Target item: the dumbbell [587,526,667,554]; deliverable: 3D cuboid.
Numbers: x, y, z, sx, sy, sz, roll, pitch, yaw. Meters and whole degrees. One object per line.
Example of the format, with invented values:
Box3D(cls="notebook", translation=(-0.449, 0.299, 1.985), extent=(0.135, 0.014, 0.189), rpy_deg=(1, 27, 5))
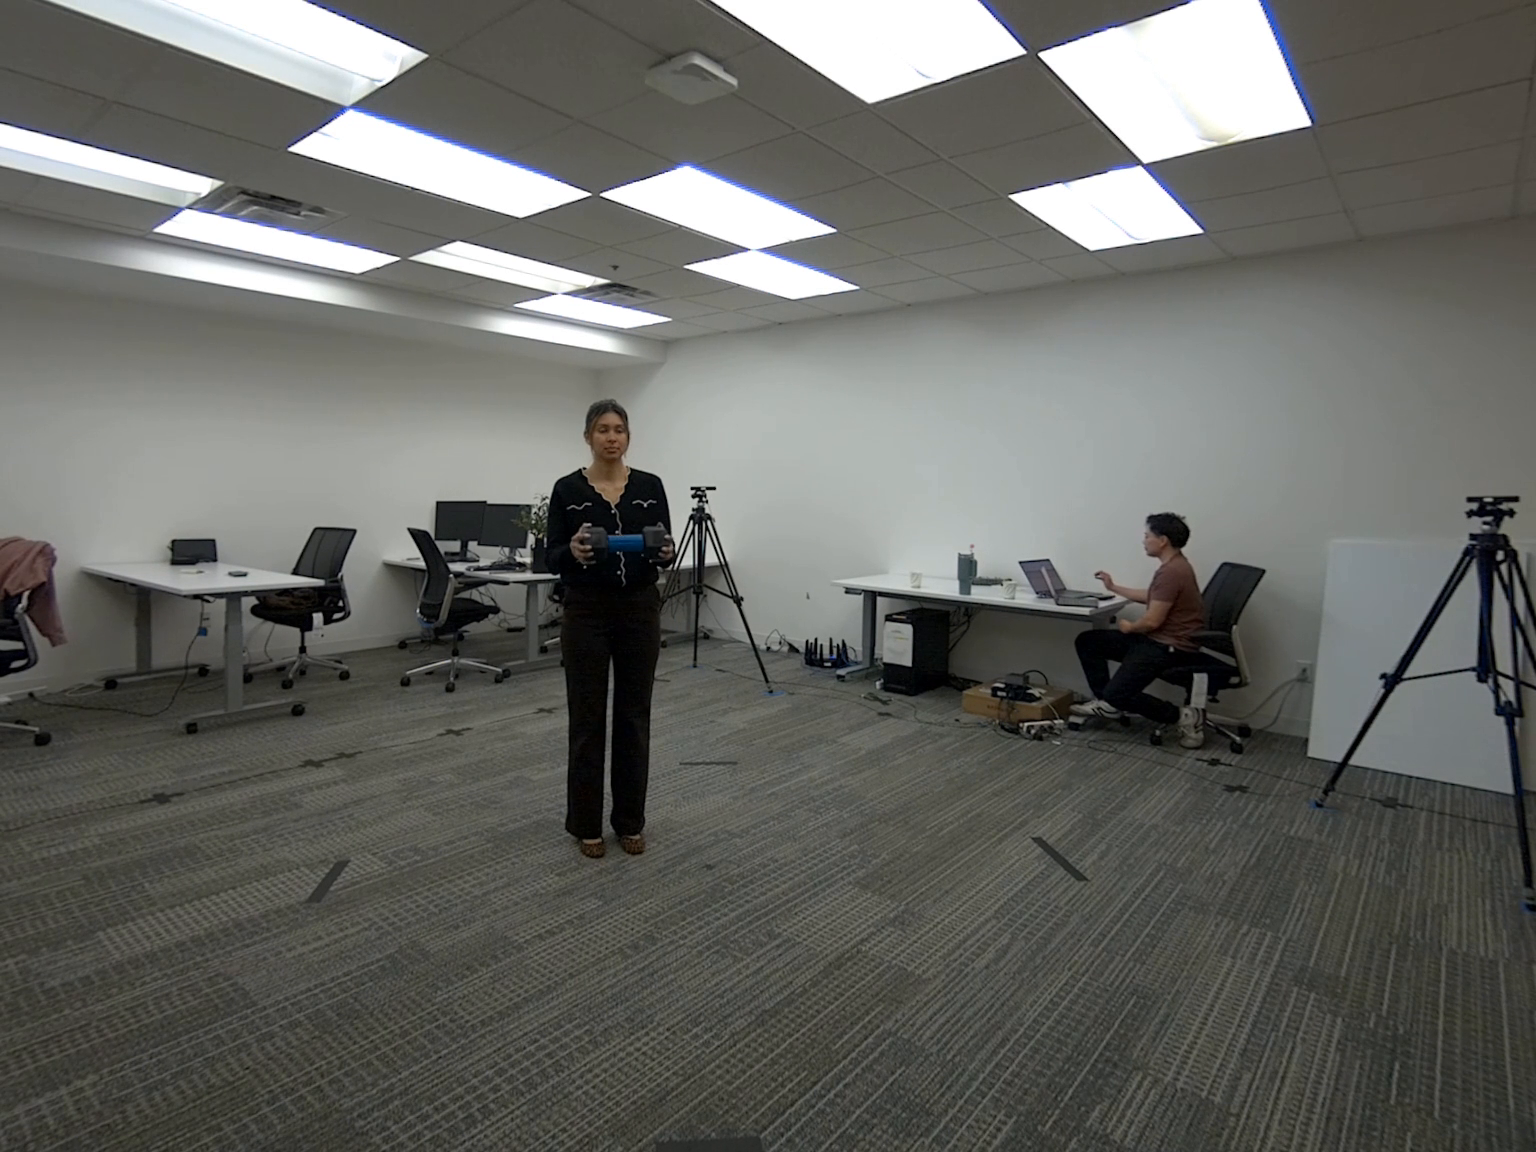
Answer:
Box3D(cls="dumbbell", translation=(-0.523, -0.114, 2.983), extent=(0.292, 0.107, 0.125), rpy_deg=(-1, 16, -6))
